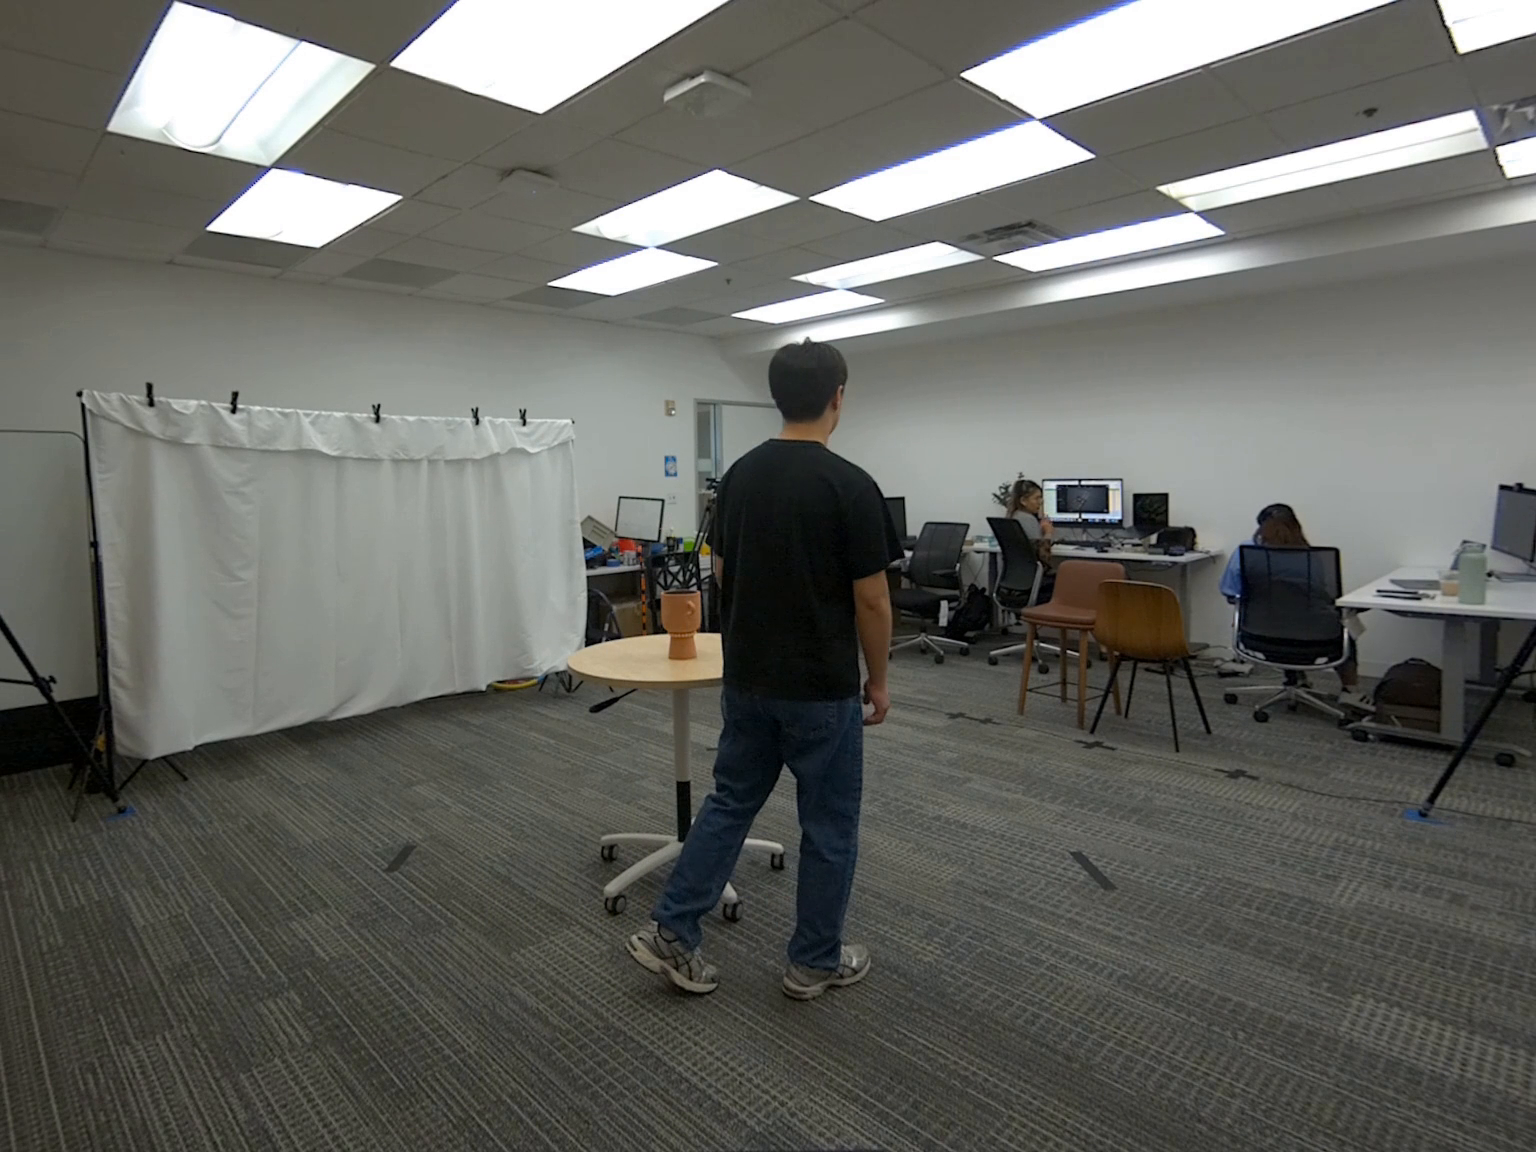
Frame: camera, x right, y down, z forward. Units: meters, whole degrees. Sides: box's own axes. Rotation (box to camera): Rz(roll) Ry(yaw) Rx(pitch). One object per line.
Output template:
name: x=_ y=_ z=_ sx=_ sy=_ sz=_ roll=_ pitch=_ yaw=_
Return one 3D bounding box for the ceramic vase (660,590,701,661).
ceramic vase: x=-0.286 y=0.167 z=2.884 sx=0.136 sy=0.219 sz=0.158 roll=1 pitch=6 yaw=9
